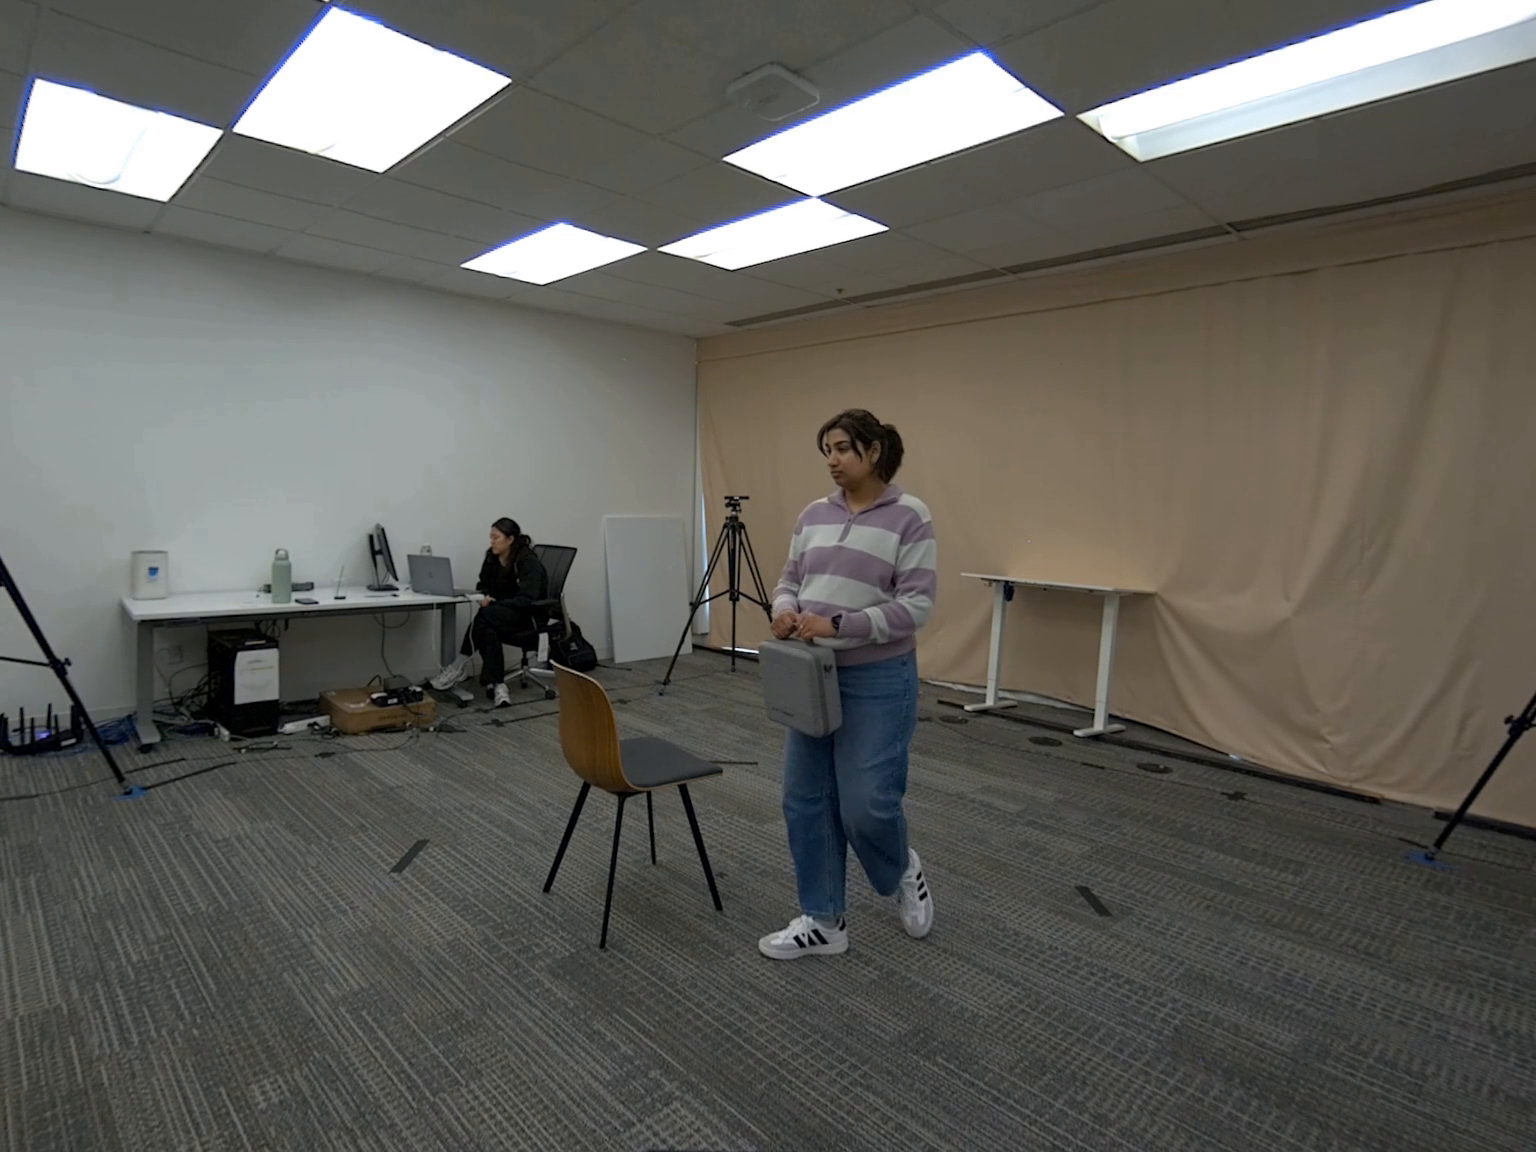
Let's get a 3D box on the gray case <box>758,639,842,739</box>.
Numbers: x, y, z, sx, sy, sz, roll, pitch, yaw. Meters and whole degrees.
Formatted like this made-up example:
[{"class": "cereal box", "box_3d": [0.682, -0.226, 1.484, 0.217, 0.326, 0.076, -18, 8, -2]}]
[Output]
[{"class": "gray case", "box_3d": [0.087, 0.310, 2.433, 0.102, 0.258, 0.263, -13, 13, -34]}]
